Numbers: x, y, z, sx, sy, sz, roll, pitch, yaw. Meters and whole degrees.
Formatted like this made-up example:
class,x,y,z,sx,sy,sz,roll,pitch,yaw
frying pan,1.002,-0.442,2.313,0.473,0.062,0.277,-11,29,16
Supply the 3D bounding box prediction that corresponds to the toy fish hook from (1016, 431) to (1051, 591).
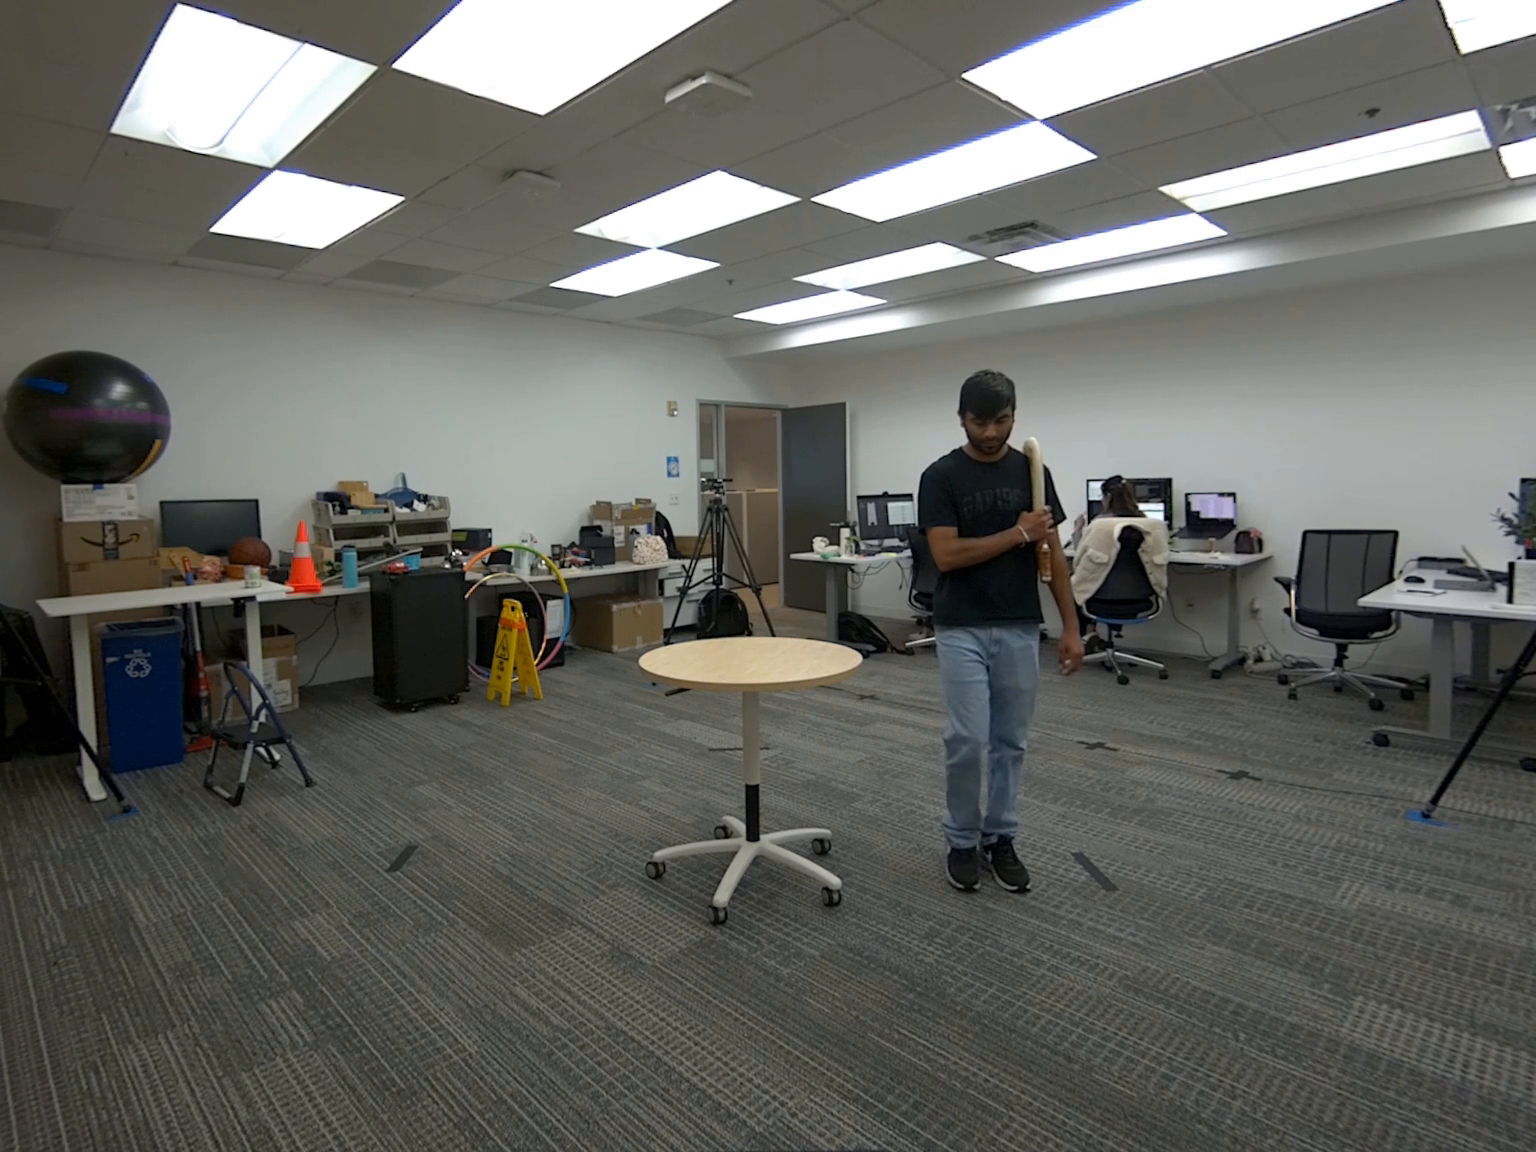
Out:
class,x,y,z,sx,sy,sz,roll,pitch,yaw
toy fish hook,0.899,-0.217,2.918,0.049,0.511,0.220,-2,-10,8
